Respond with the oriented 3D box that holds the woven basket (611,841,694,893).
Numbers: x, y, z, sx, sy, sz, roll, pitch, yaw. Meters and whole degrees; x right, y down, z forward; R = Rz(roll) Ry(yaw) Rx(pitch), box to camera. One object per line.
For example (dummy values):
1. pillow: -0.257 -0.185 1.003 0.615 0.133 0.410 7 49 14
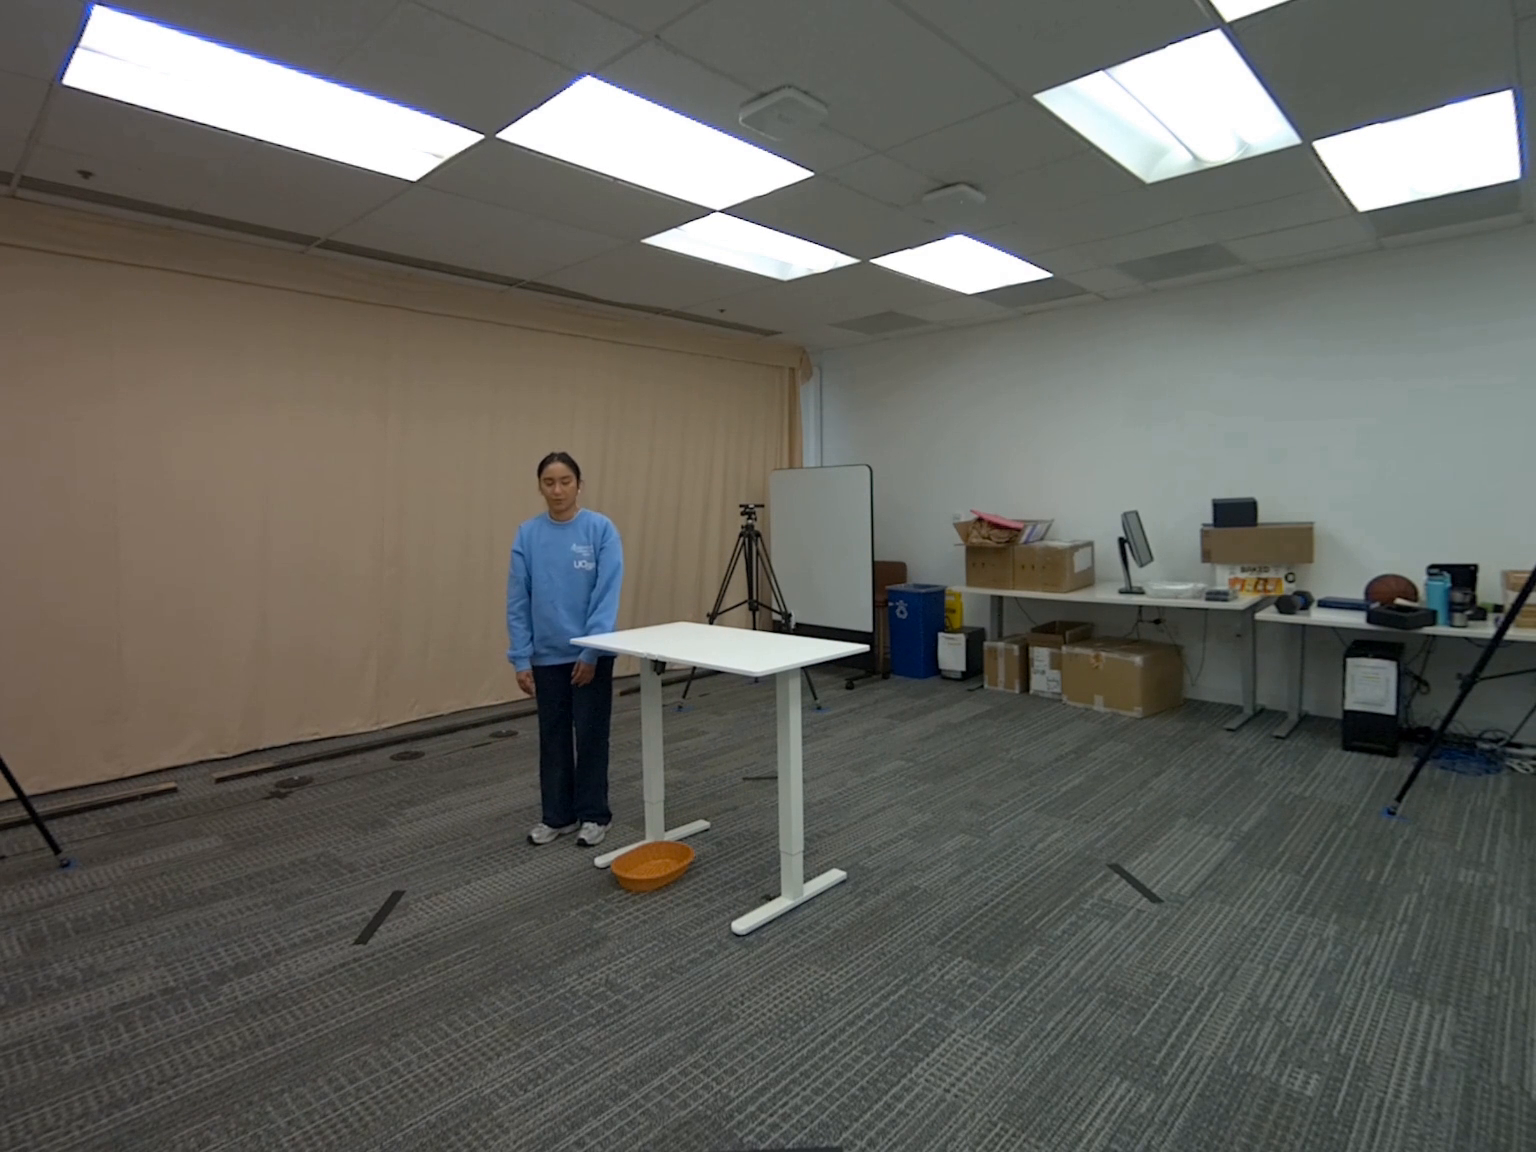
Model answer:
1. woven basket: -0.432 1.091 3.170 0.261 0.073 0.340 5 7 40
